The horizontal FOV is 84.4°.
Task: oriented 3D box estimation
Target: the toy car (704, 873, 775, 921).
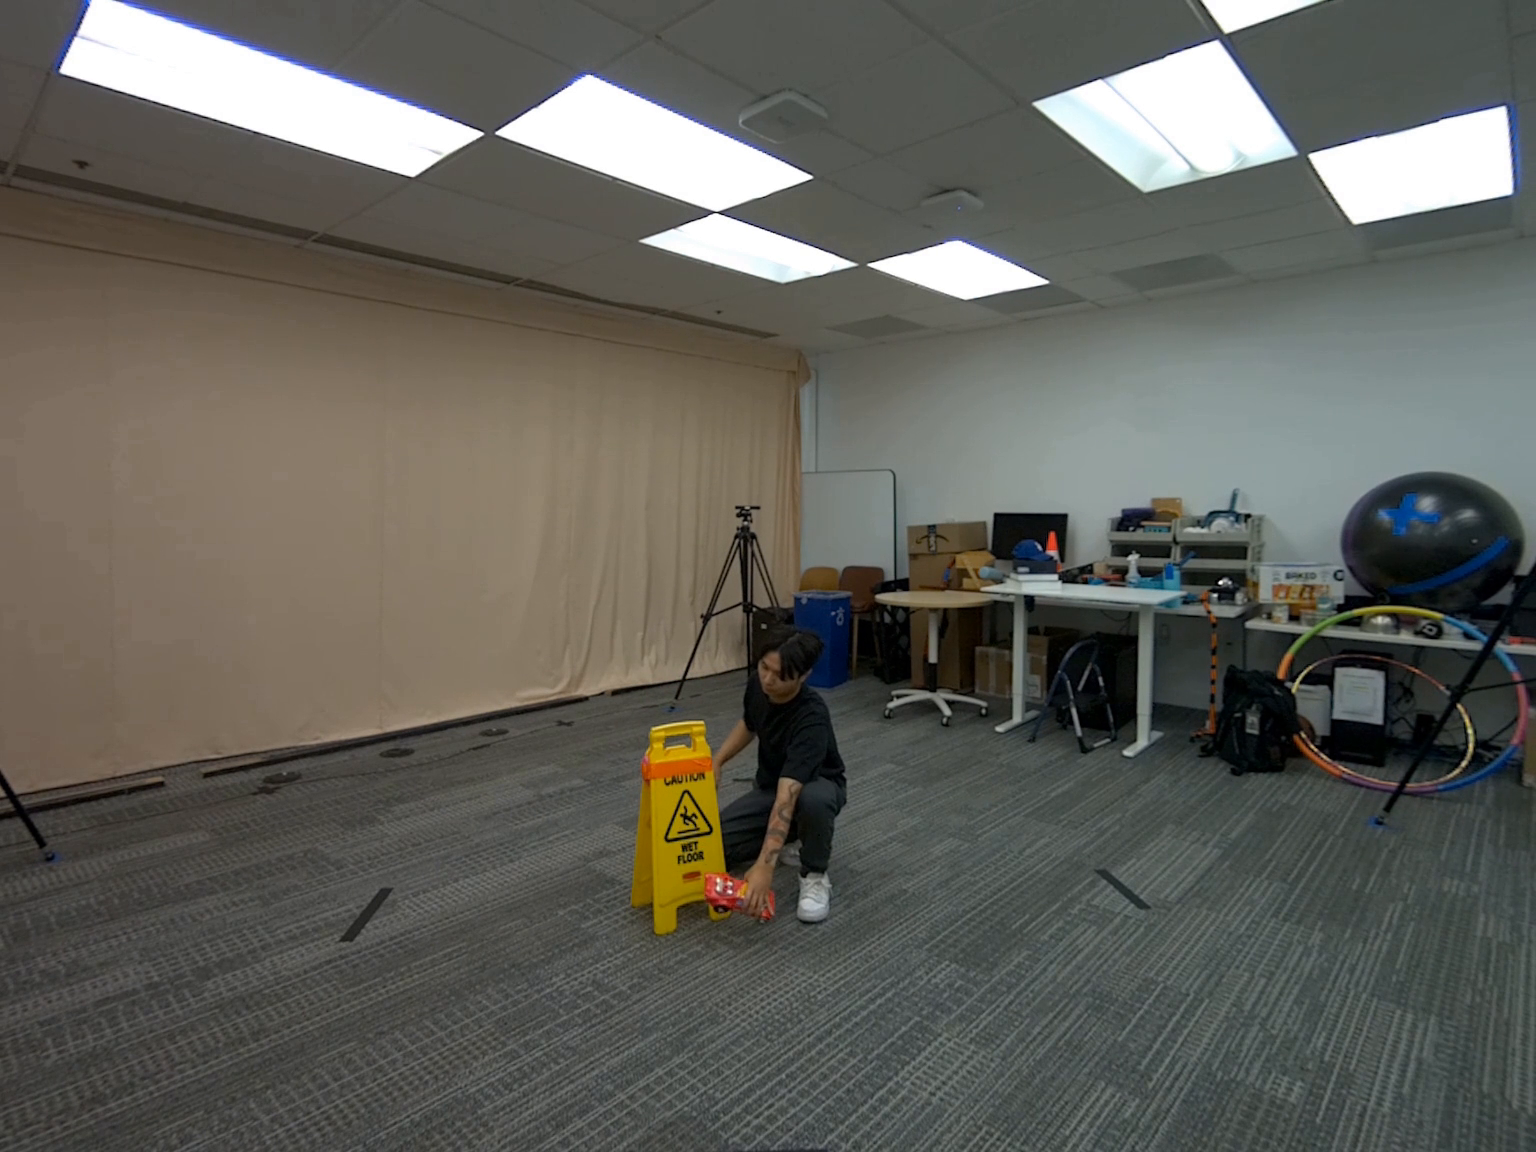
[{"bbox_3d":[-0.112,1.002,2.680,0.248,0.084,0.132,31,33,-23],"label":"toy car"}]
